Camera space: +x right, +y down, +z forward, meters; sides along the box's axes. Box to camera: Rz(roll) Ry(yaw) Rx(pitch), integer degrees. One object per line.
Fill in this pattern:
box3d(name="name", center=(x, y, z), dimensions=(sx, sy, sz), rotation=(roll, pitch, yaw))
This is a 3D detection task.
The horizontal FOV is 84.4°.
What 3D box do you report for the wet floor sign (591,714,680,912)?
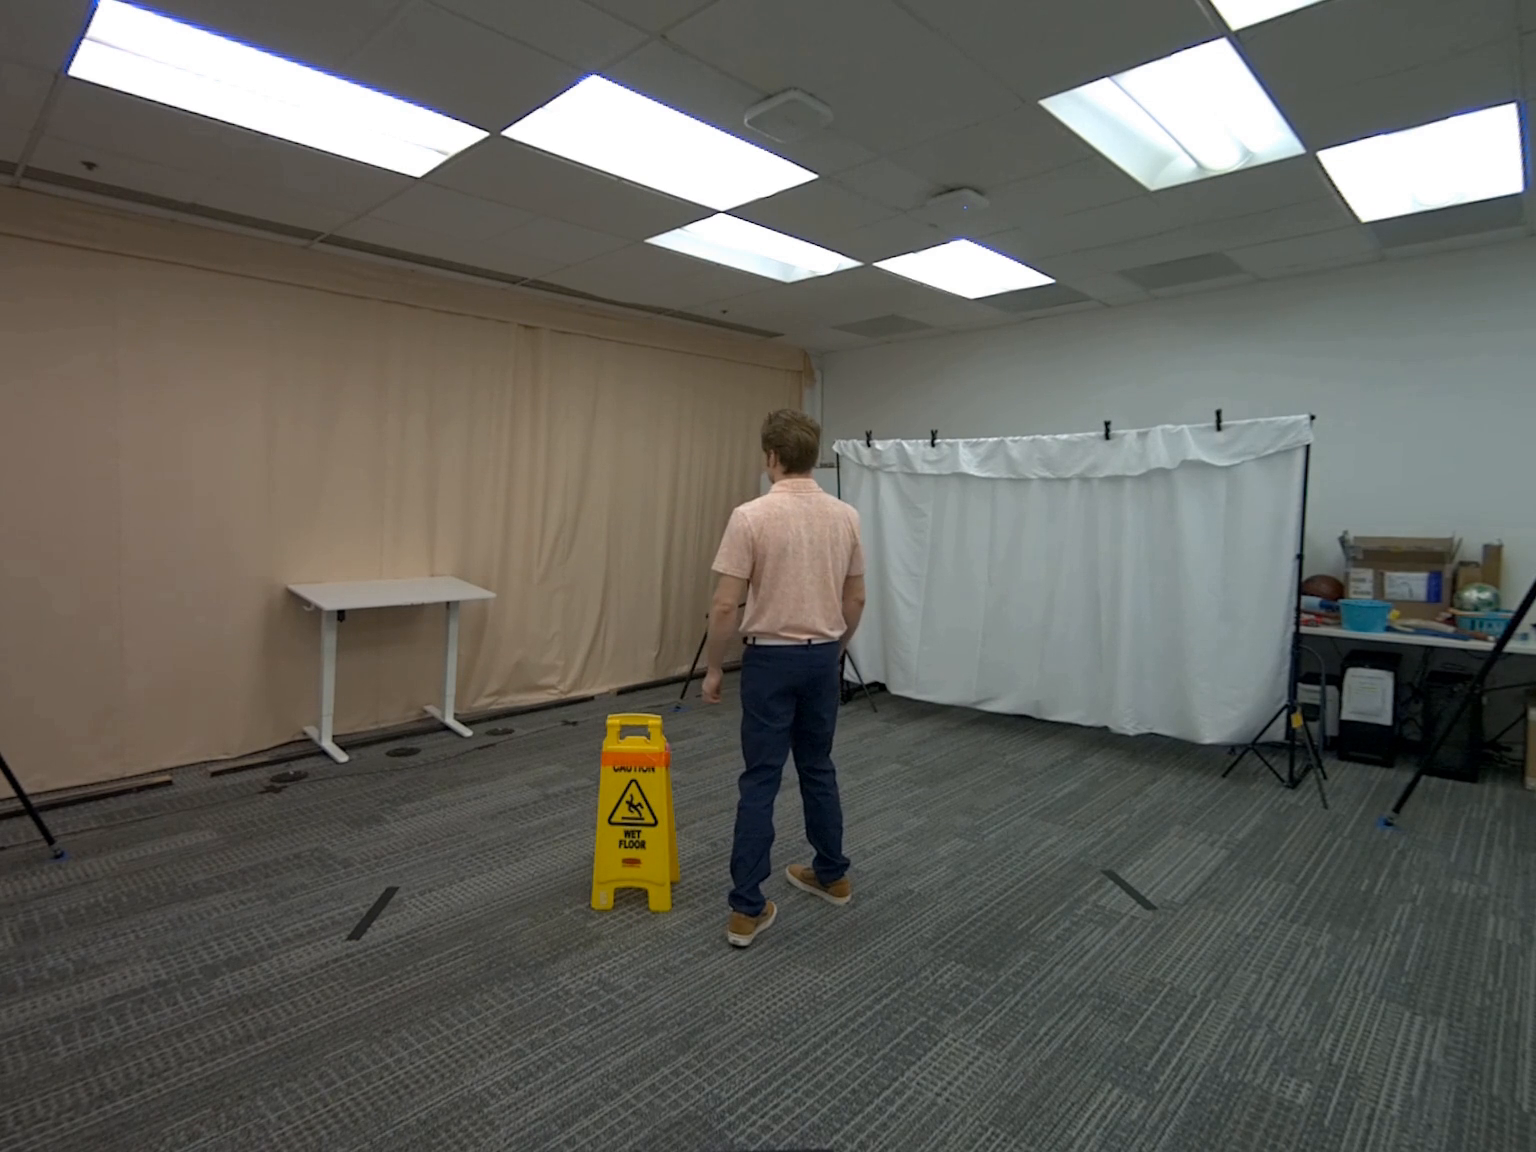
box3d(name="wet floor sign", center=(-0.471, 0.823, 3.016), dimensions=(0.283, 0.645, 0.289), rotation=(1, 2, 3))
